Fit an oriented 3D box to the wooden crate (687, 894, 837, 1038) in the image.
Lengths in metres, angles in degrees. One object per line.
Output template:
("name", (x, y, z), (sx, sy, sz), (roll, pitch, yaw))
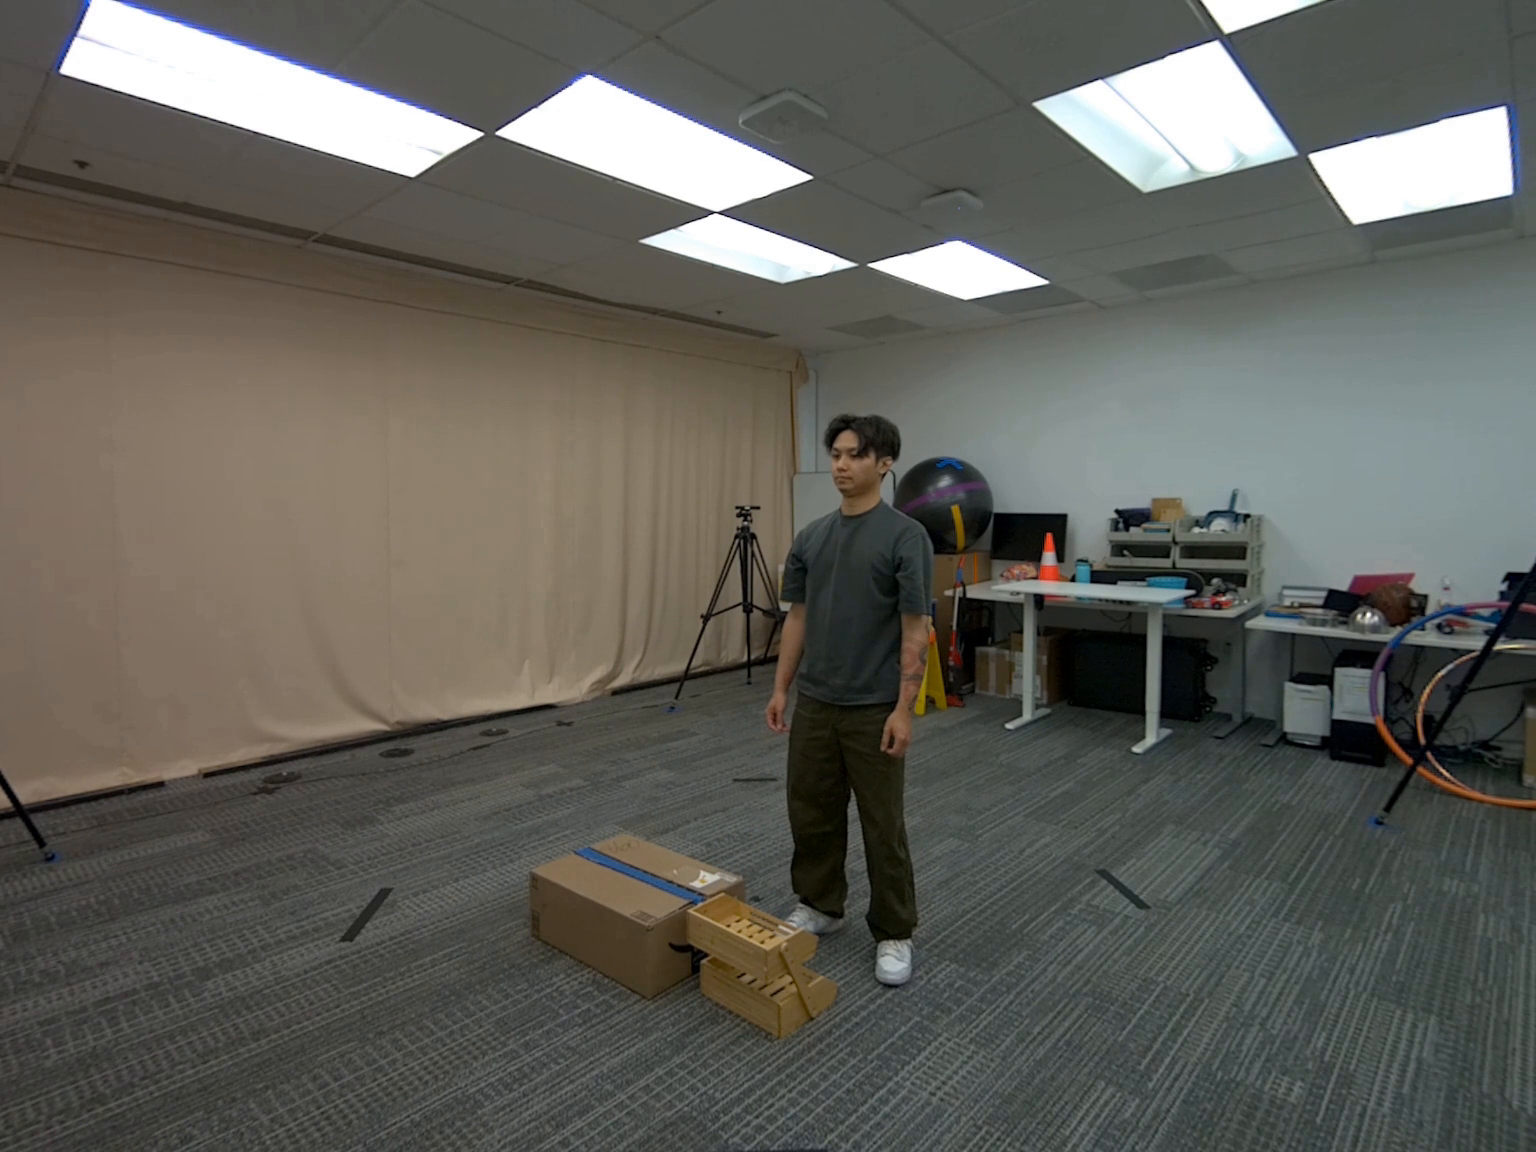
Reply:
("wooden crate", (-0.006, 1.058, 2.366), (0.335, 0.272, 0.293), (5, 6, 43))
